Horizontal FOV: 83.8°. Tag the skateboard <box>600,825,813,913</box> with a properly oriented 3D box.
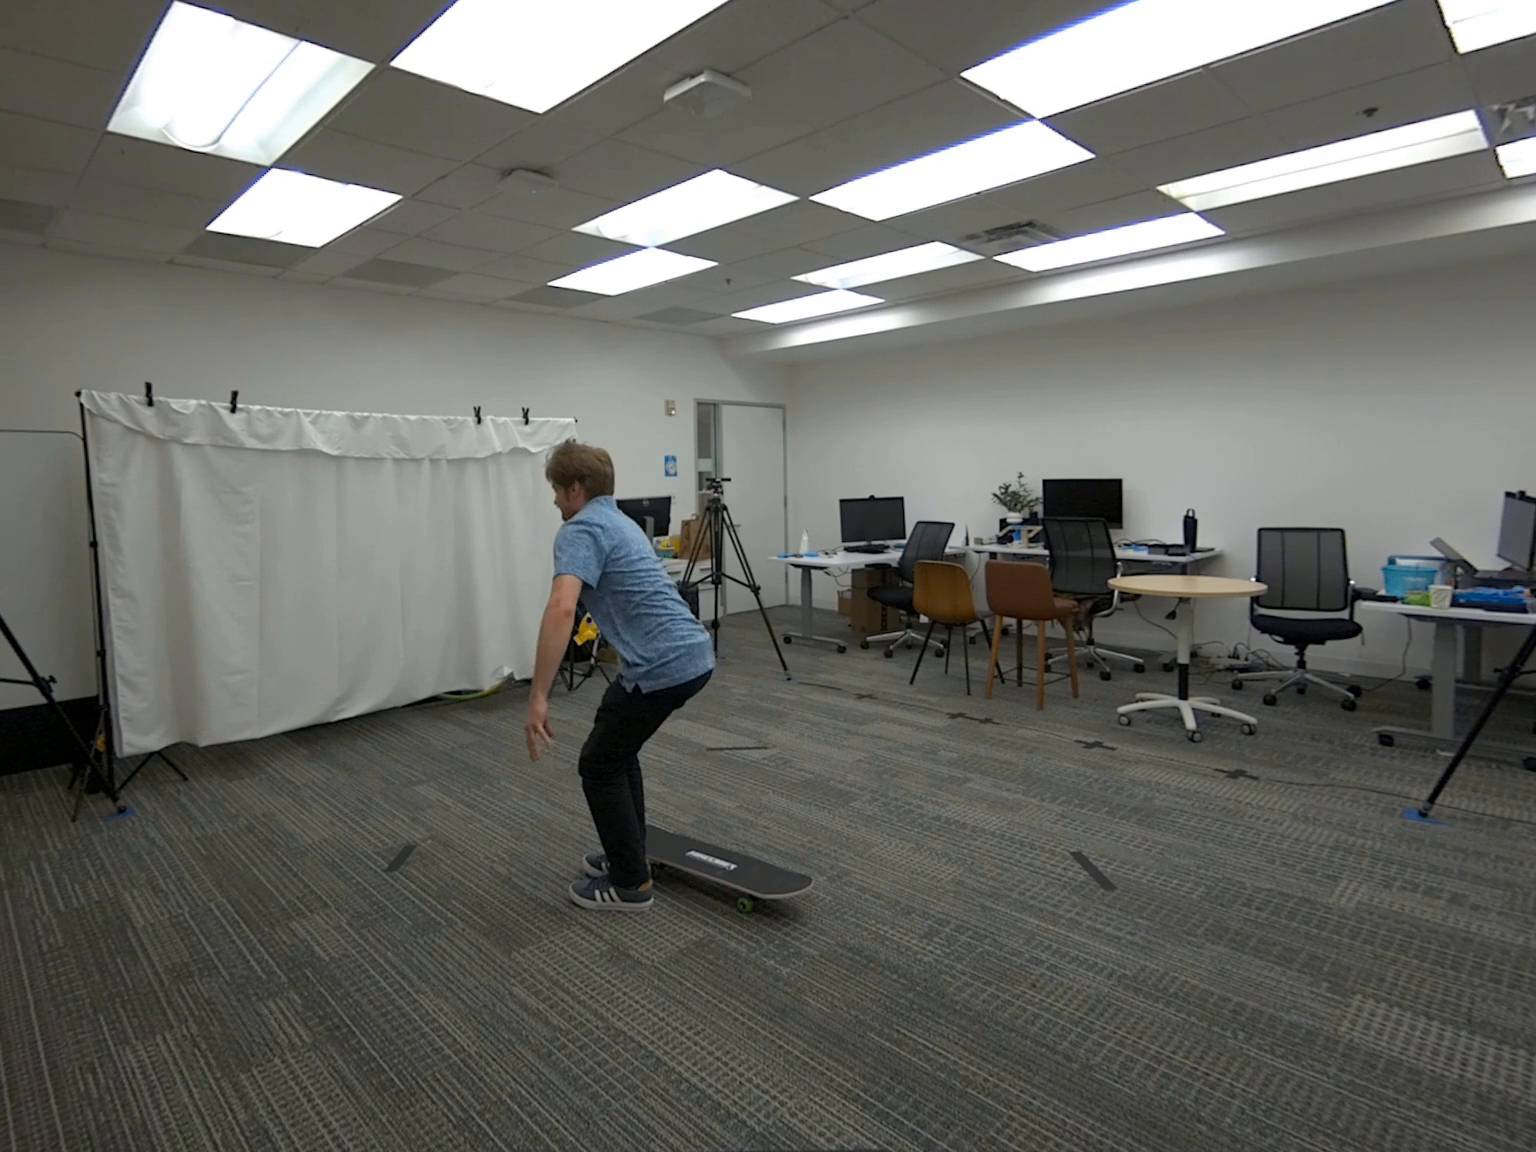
[{"bbox_3d":[-0.195,1.004,2.933,0.808,0.110,0.189,4,8,36],"label":"skateboard"}]
